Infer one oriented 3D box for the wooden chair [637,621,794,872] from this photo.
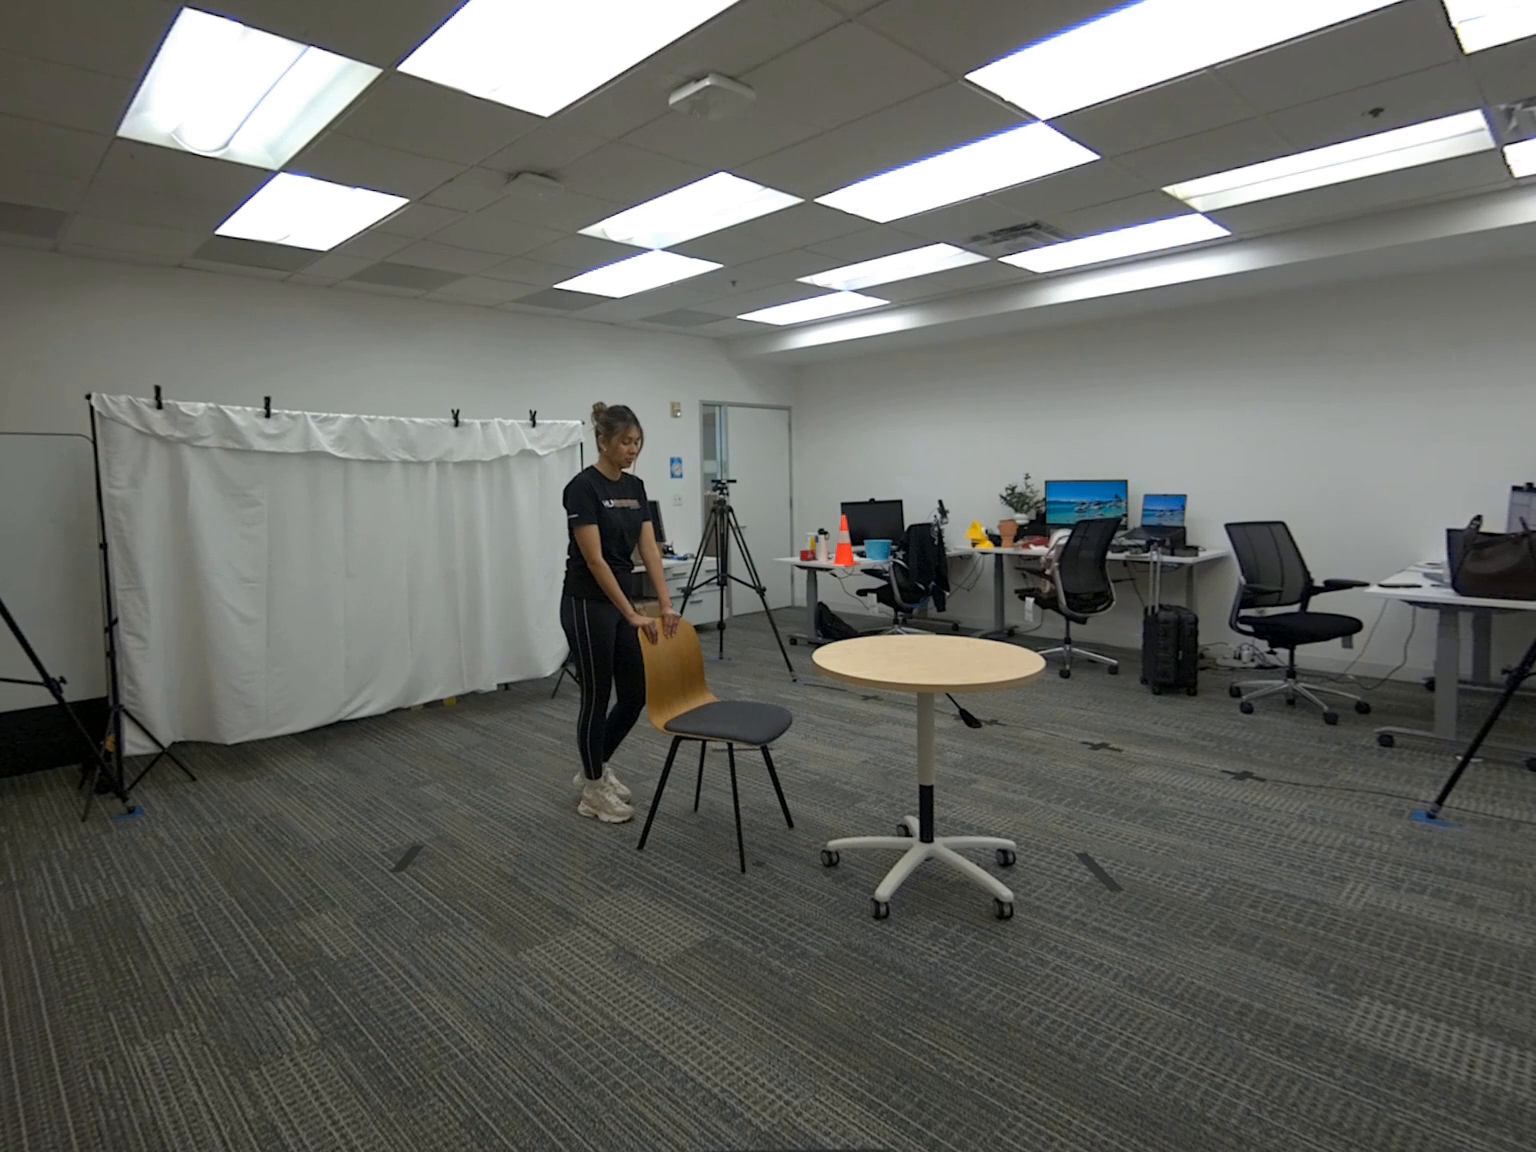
[{"bbox_3d":[-0.195,0.598,3.302,0.535,0.876,0.468,-4,2,27],"label":"wooden chair"}]
